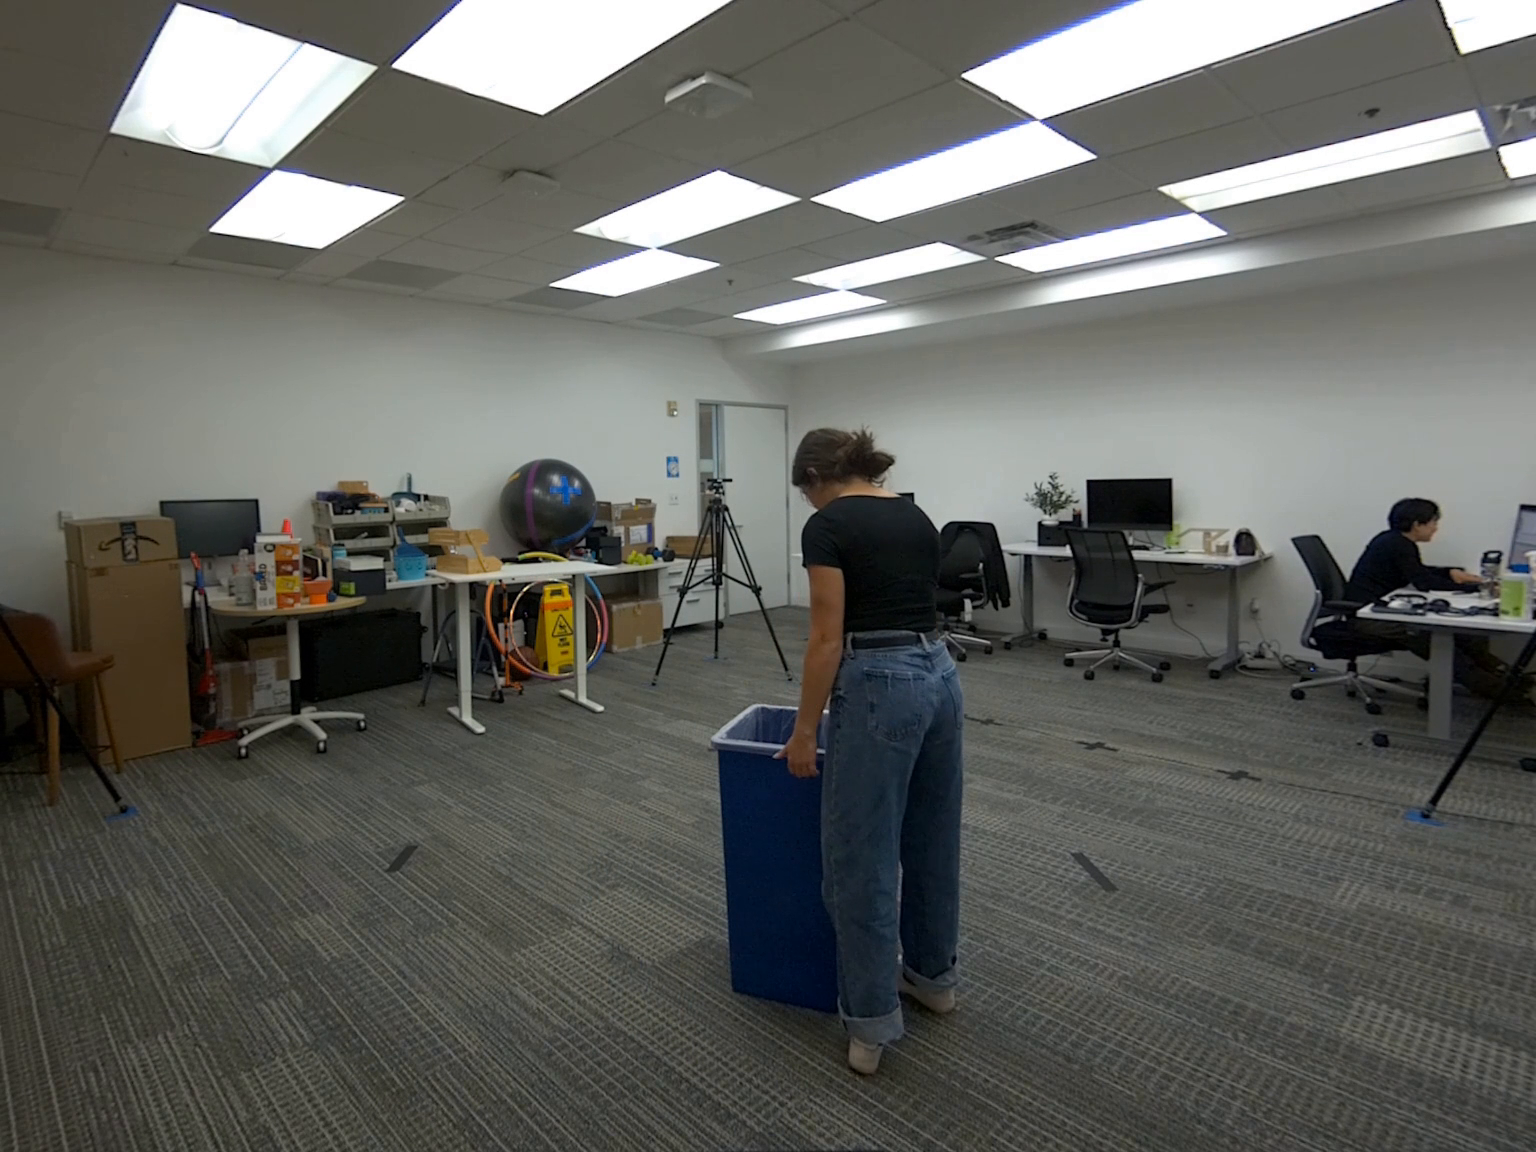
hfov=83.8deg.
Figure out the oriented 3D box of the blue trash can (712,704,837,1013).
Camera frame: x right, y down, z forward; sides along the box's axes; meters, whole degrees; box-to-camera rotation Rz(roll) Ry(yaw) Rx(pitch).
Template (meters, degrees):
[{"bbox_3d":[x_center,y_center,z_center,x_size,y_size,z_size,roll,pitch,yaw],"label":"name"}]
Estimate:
[{"bbox_3d":[0.087,0.768,2.387,0.385,0.711,0.368,0,4,20],"label":"blue trash can"}]
